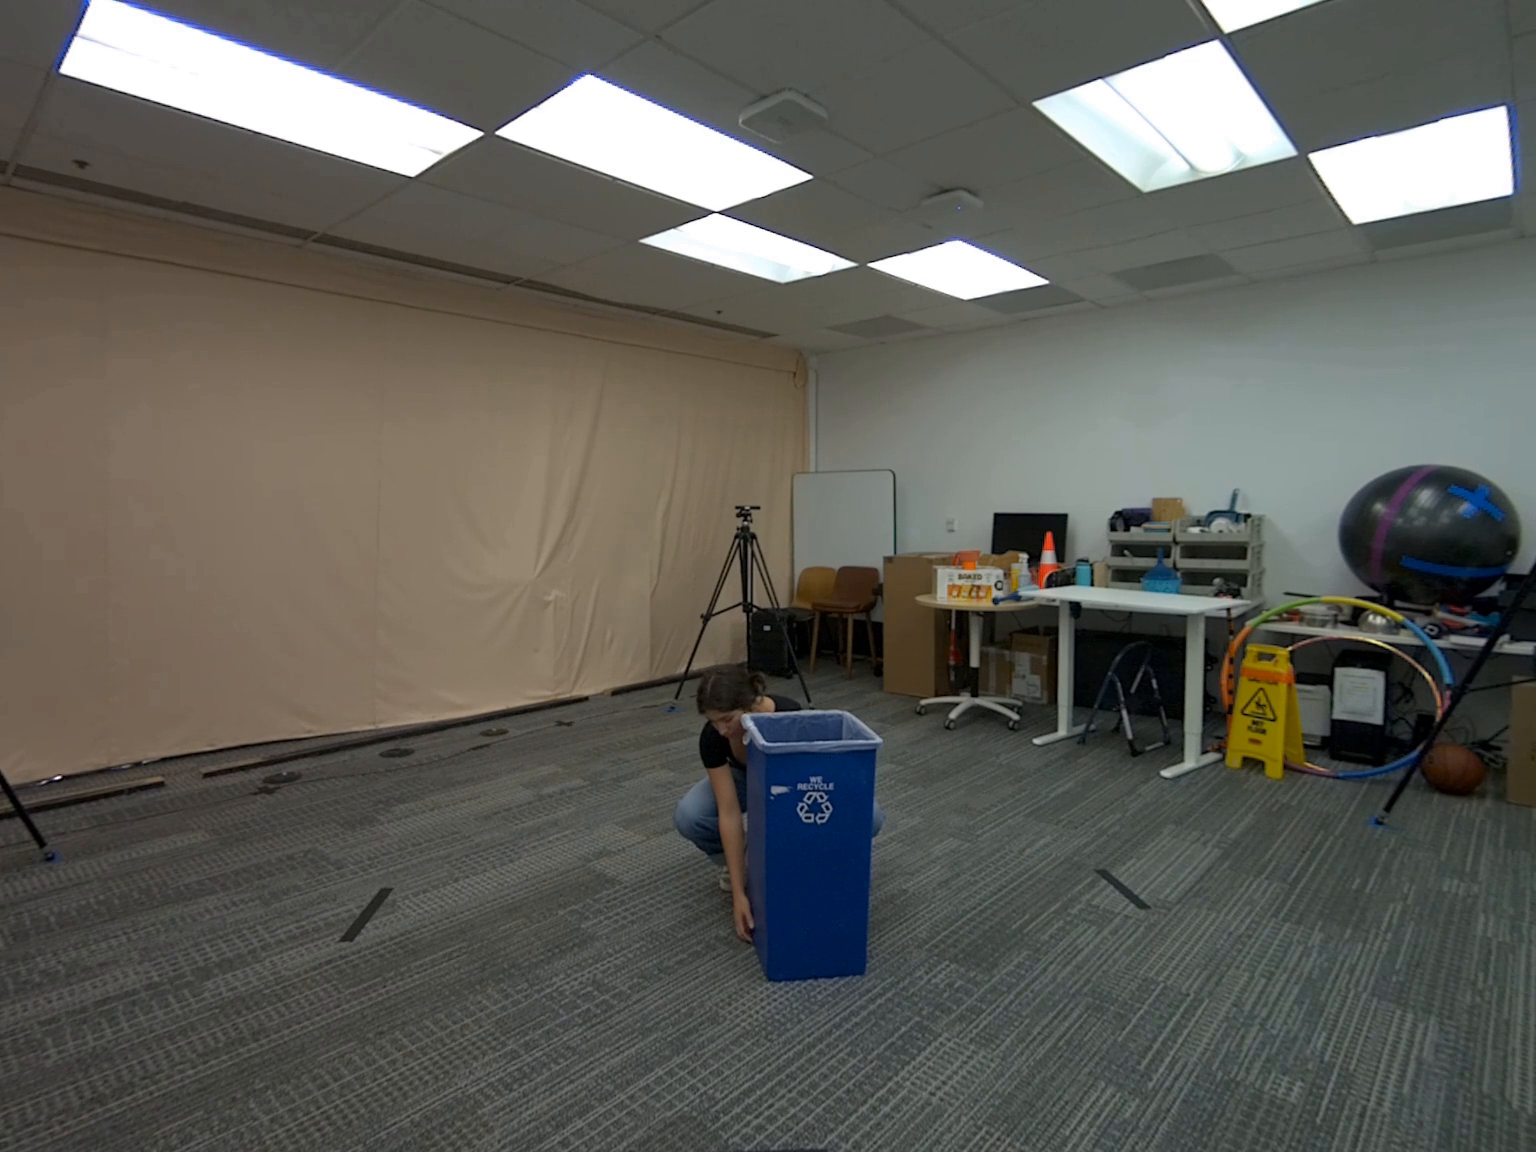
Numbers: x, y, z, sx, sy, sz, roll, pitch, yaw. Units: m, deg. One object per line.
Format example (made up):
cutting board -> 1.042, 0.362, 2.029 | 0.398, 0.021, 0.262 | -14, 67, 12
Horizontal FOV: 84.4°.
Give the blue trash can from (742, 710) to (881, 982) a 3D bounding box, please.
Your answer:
blue trash can -> 0.124, 0.816, 2.607 | 0.370, 0.712, 0.383 | -1, 3, -11
